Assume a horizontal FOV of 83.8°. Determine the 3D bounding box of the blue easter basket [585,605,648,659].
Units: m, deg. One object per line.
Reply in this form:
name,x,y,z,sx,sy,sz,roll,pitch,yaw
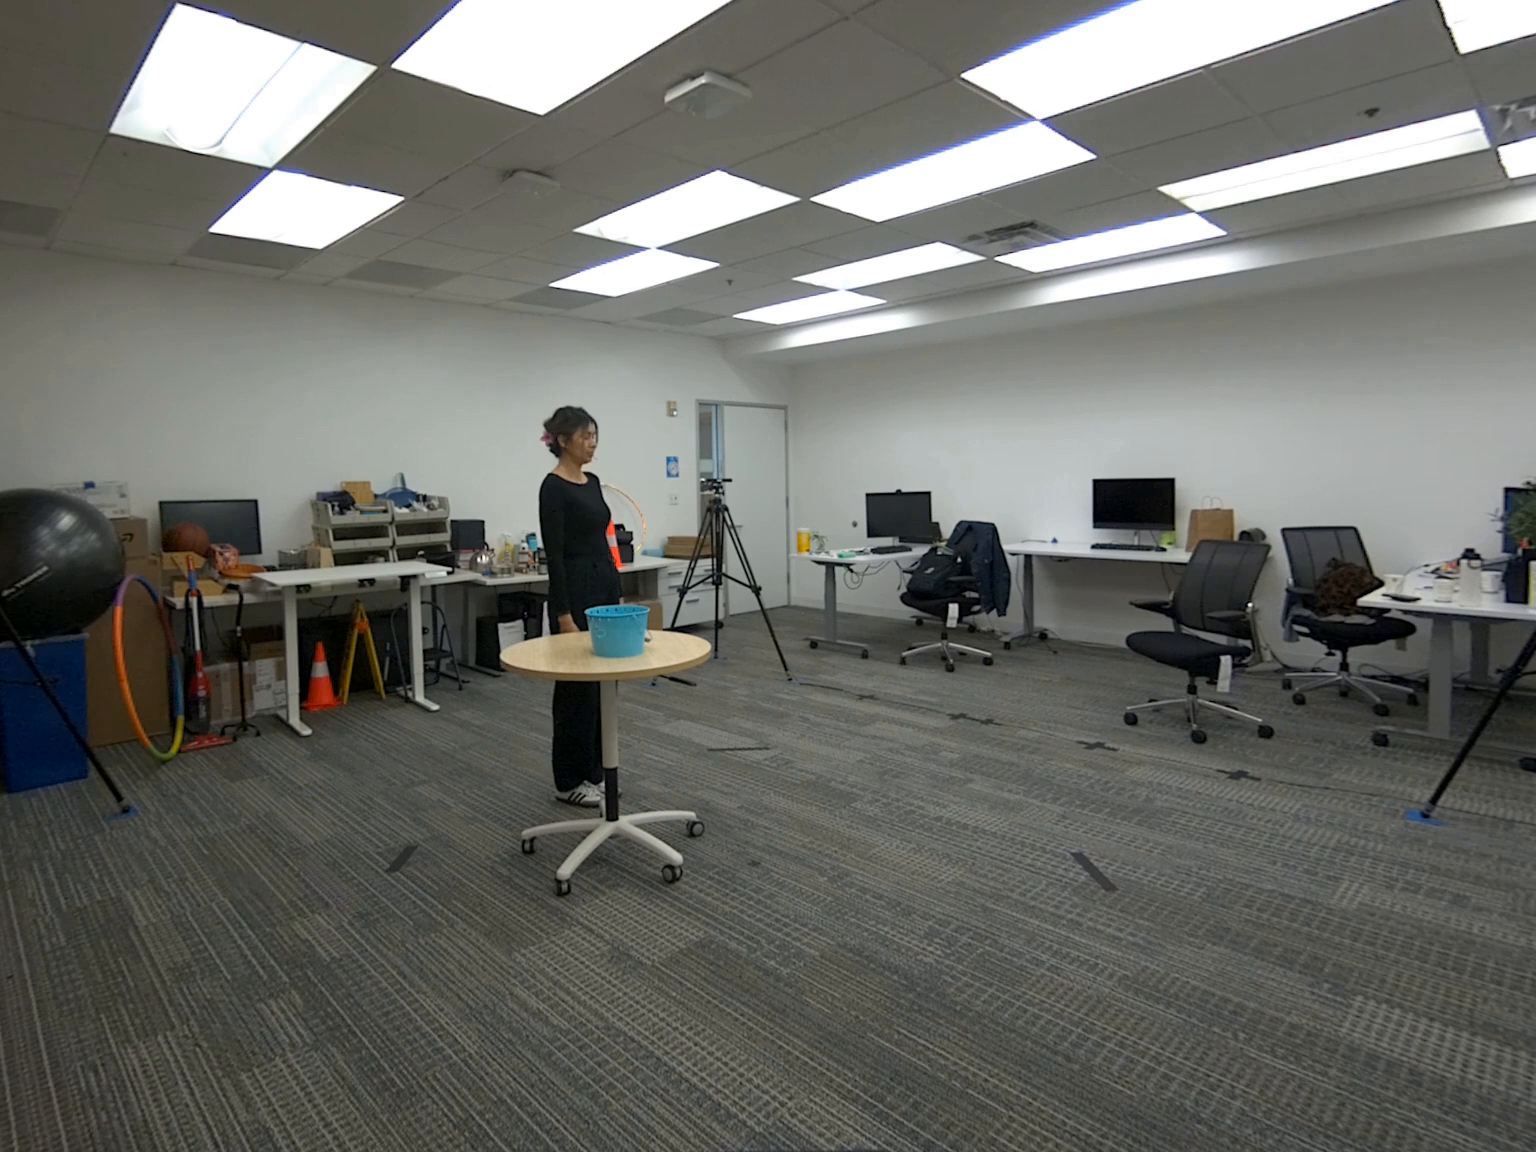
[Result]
blue easter basket,-0.537,0.202,3.065,0.243,0.155,0.245,-1,6,-2
